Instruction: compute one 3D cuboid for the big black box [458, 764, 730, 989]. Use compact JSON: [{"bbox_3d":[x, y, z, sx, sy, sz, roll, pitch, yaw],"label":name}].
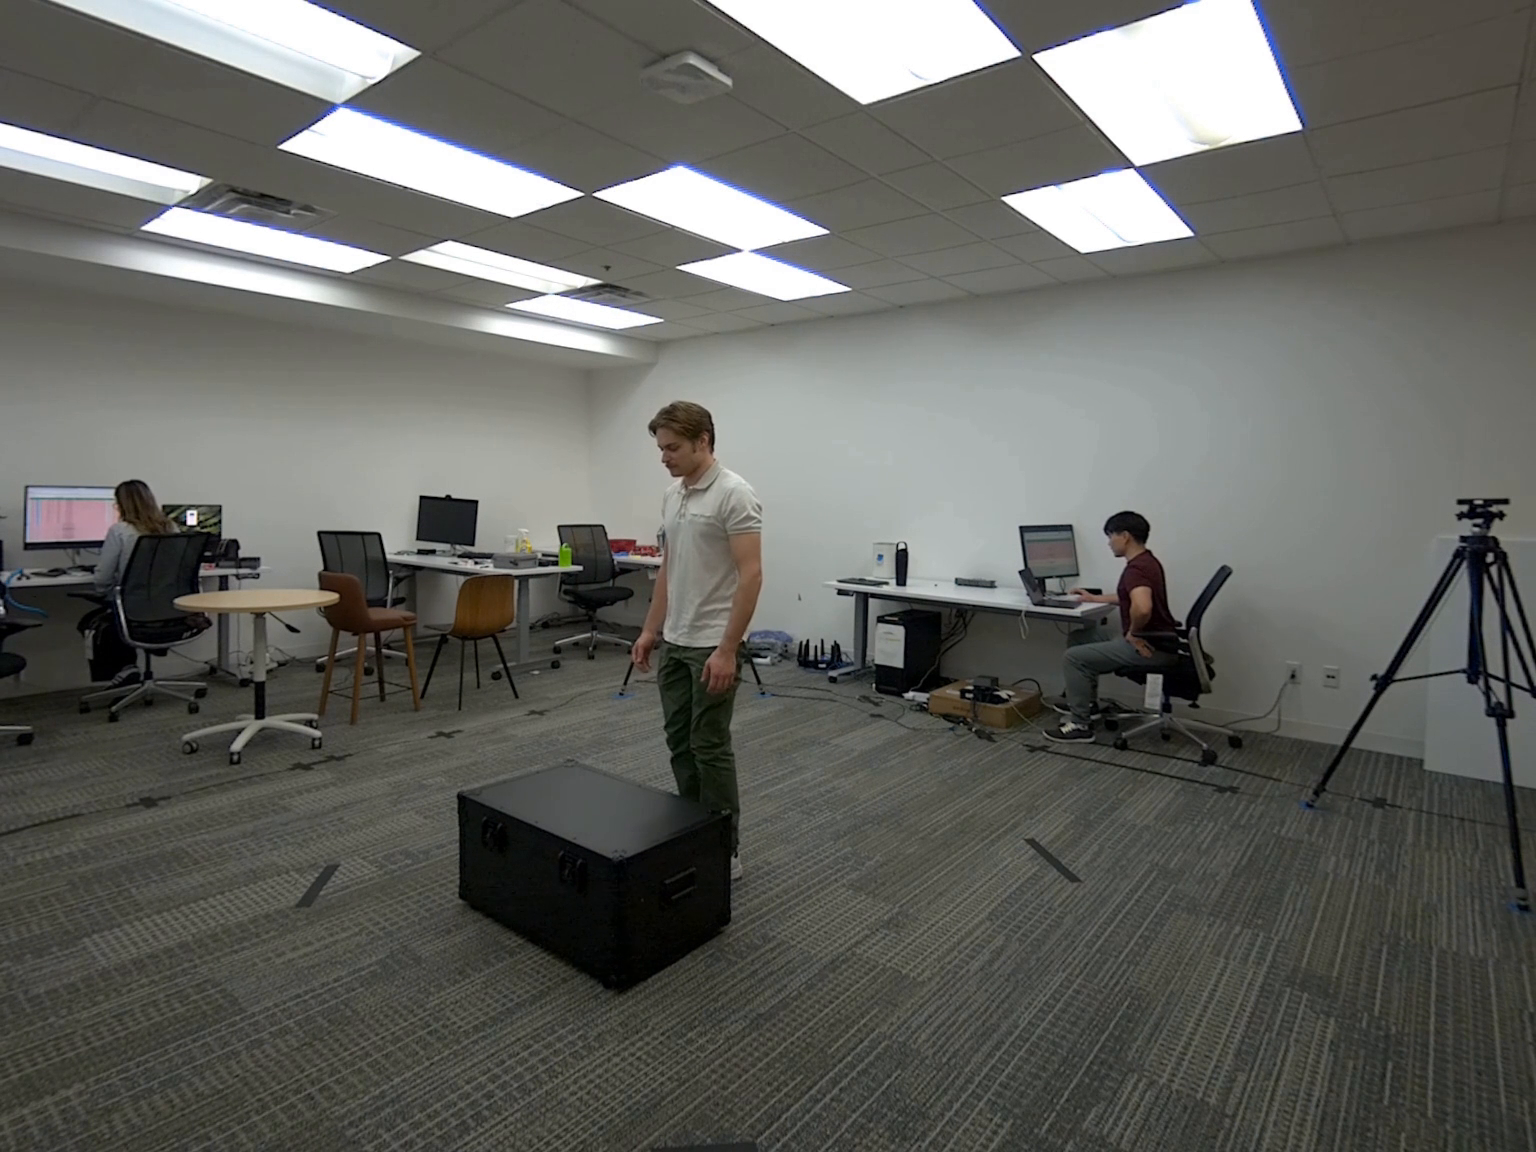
[{"bbox_3d":[-0.602,0.901,2.763,0.898,0.383,0.508,5,7,39],"label":"big black box"}]
